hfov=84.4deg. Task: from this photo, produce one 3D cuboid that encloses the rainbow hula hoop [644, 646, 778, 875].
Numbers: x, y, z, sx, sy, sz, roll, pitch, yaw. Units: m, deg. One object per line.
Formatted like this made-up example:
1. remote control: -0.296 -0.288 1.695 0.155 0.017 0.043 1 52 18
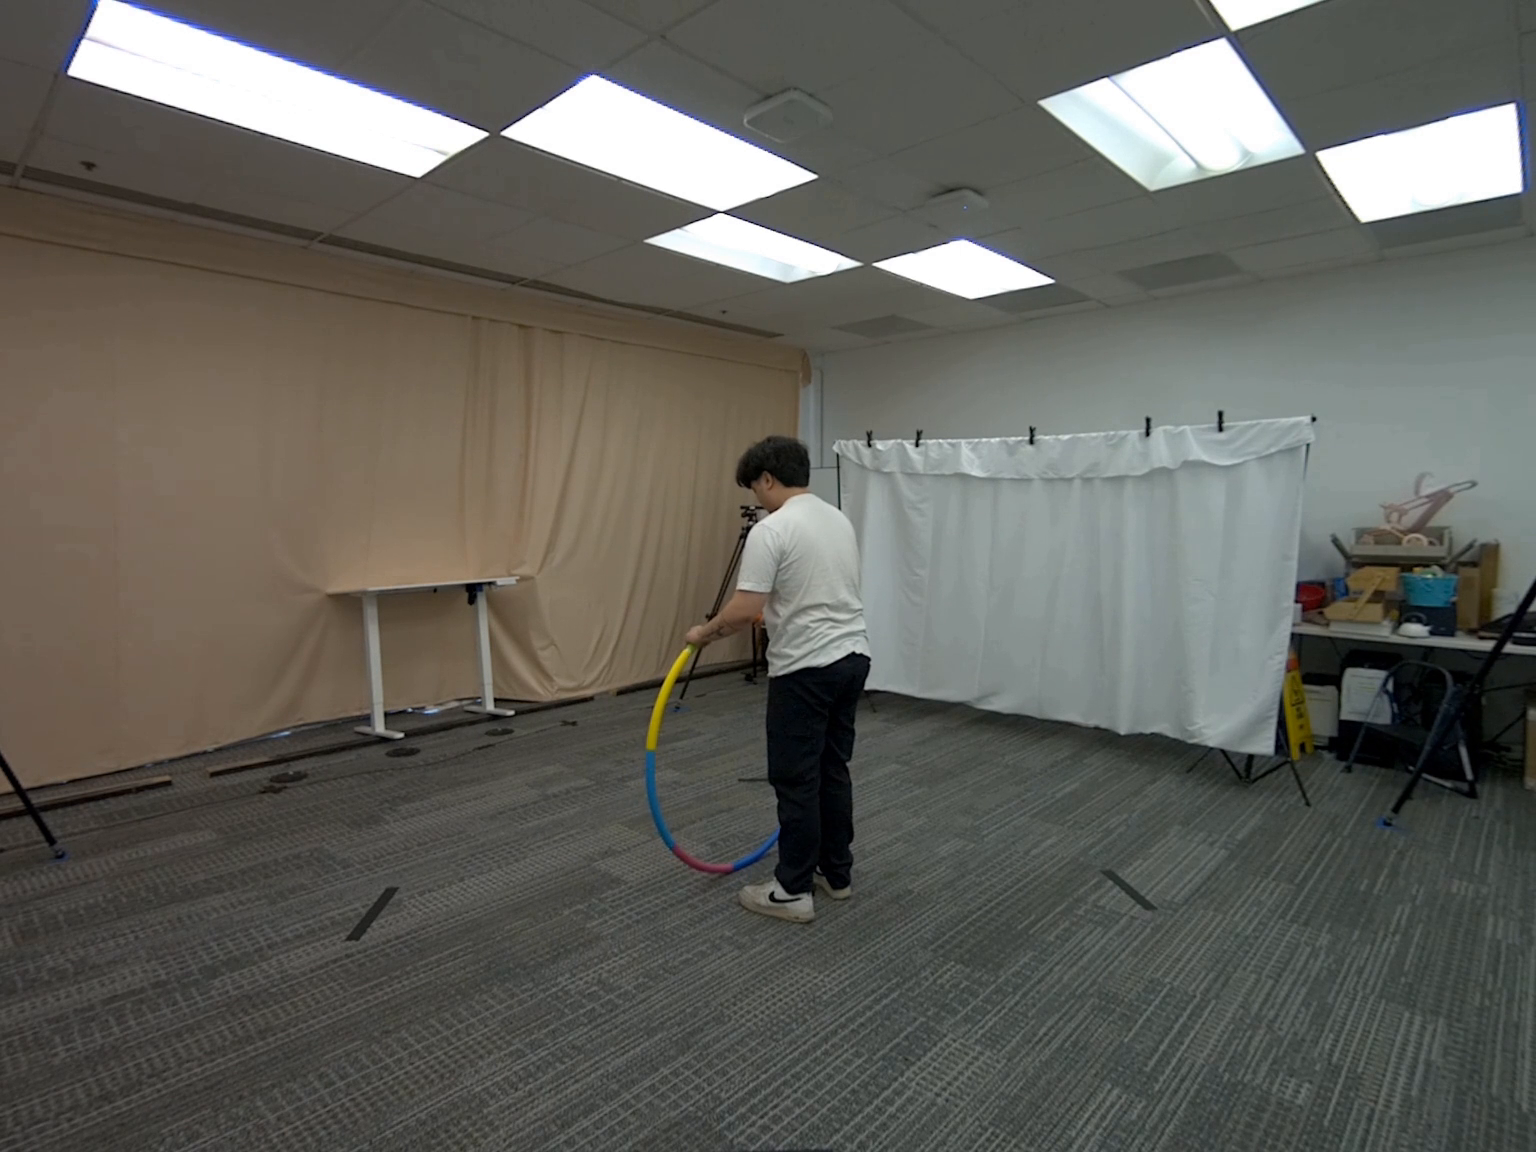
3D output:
1. rainbow hula hoop: -0.096 0.634 3.222 0.053 0.983 0.955 3 5 42
